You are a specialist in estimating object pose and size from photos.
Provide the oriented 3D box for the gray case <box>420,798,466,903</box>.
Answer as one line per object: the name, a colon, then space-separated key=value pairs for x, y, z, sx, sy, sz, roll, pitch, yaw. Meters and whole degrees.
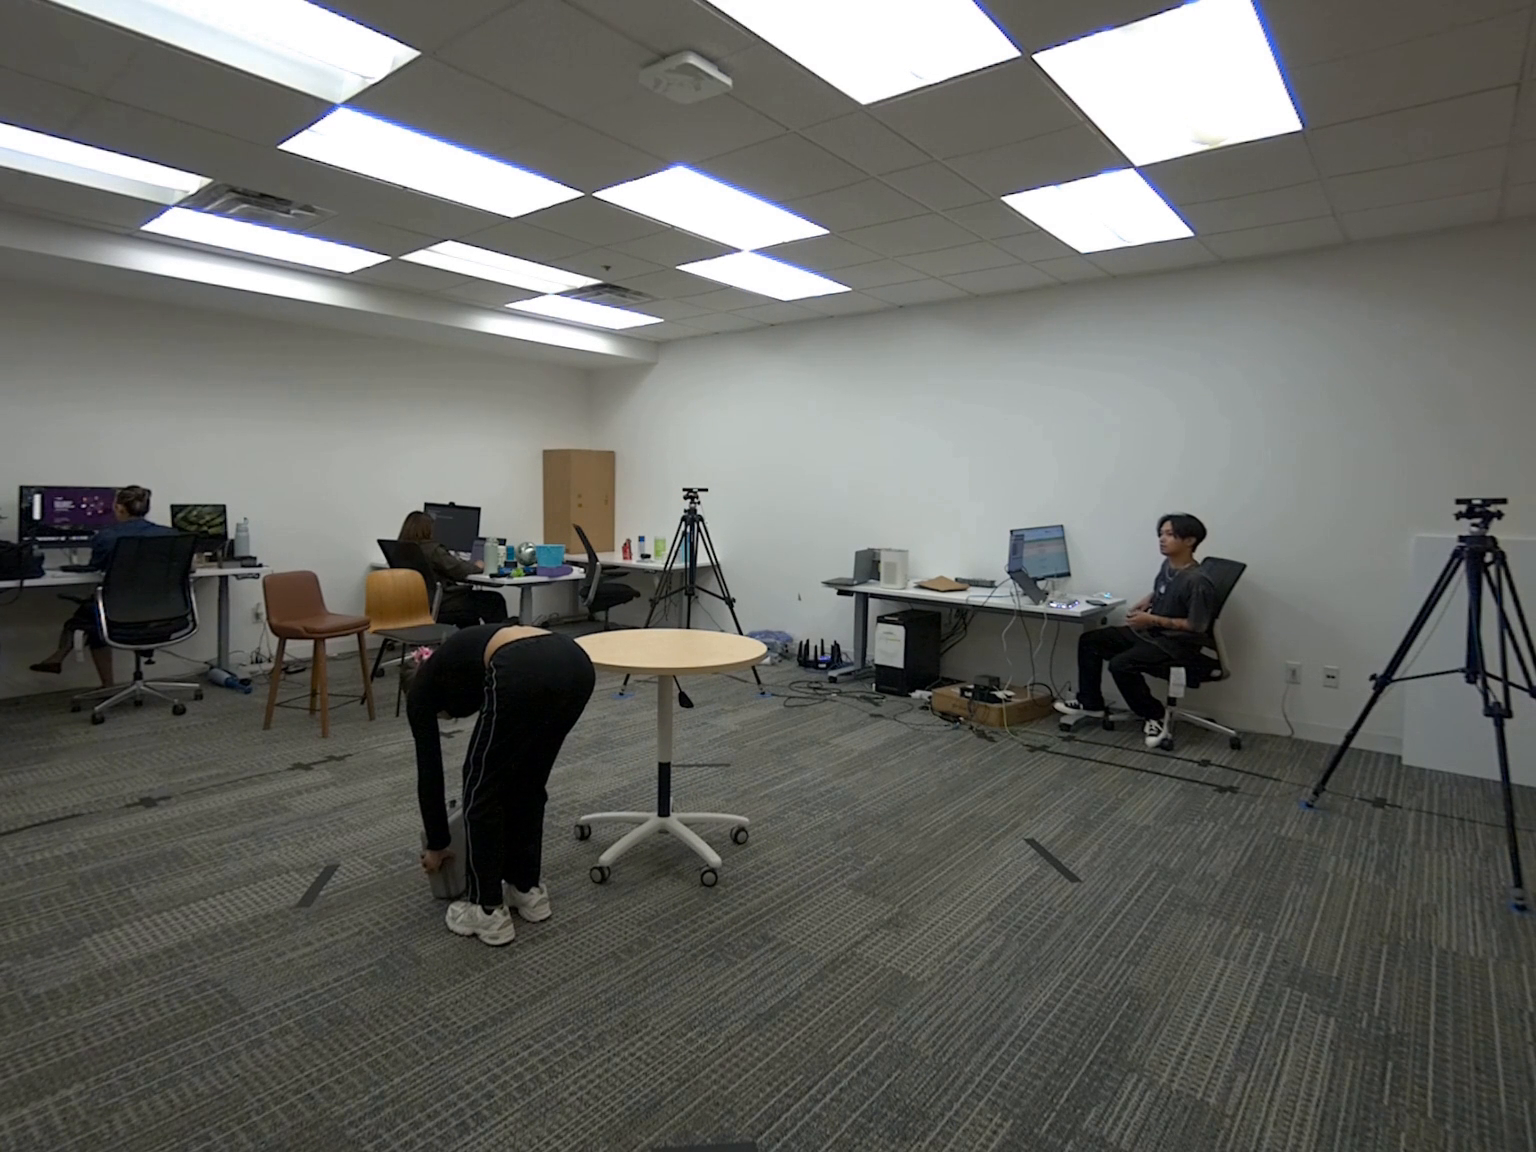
gray case: x=-1.091 y=0.936 z=2.940 sx=0.105 sy=0.260 sz=0.255 roll=-8 pitch=3 yaw=8
